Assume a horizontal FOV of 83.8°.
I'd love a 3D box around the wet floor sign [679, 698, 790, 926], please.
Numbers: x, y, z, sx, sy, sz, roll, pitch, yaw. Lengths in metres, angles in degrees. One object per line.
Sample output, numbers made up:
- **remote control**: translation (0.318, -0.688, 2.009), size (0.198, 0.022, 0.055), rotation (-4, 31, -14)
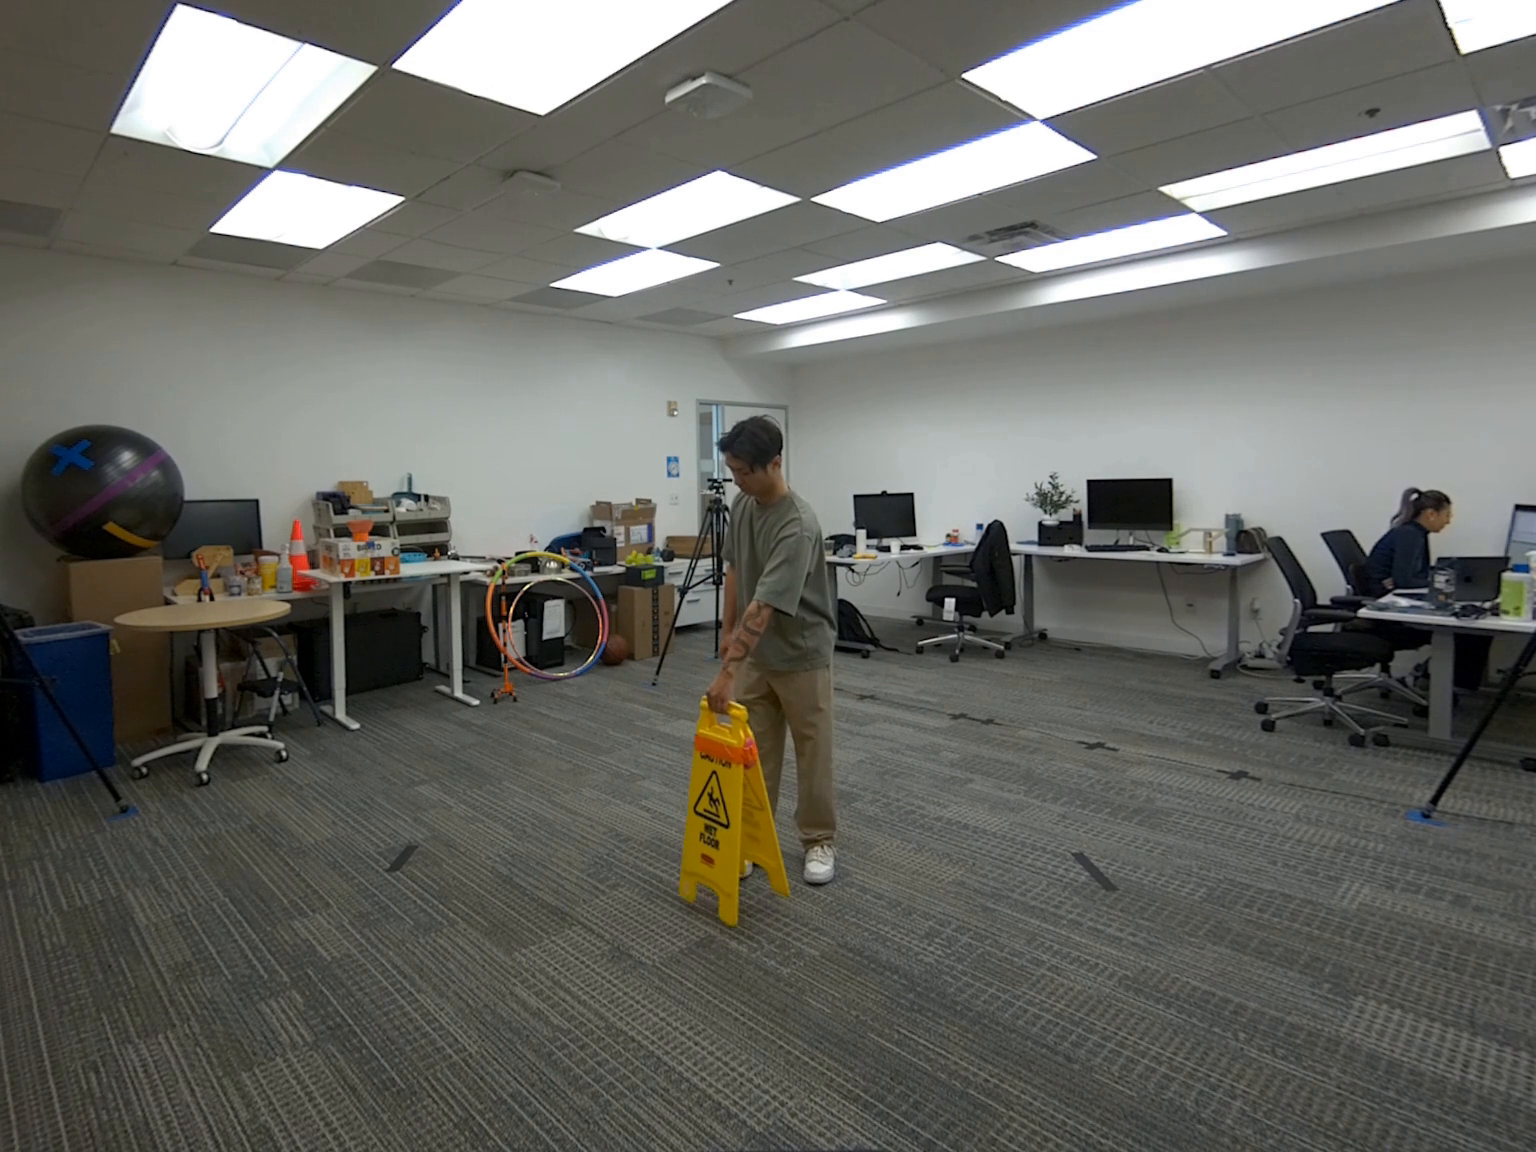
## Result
- **wet floor sign**: translation (-0.125, 0.717, 2.743), size (0.282, 0.642, 0.291), rotation (-8, 8, -42)
